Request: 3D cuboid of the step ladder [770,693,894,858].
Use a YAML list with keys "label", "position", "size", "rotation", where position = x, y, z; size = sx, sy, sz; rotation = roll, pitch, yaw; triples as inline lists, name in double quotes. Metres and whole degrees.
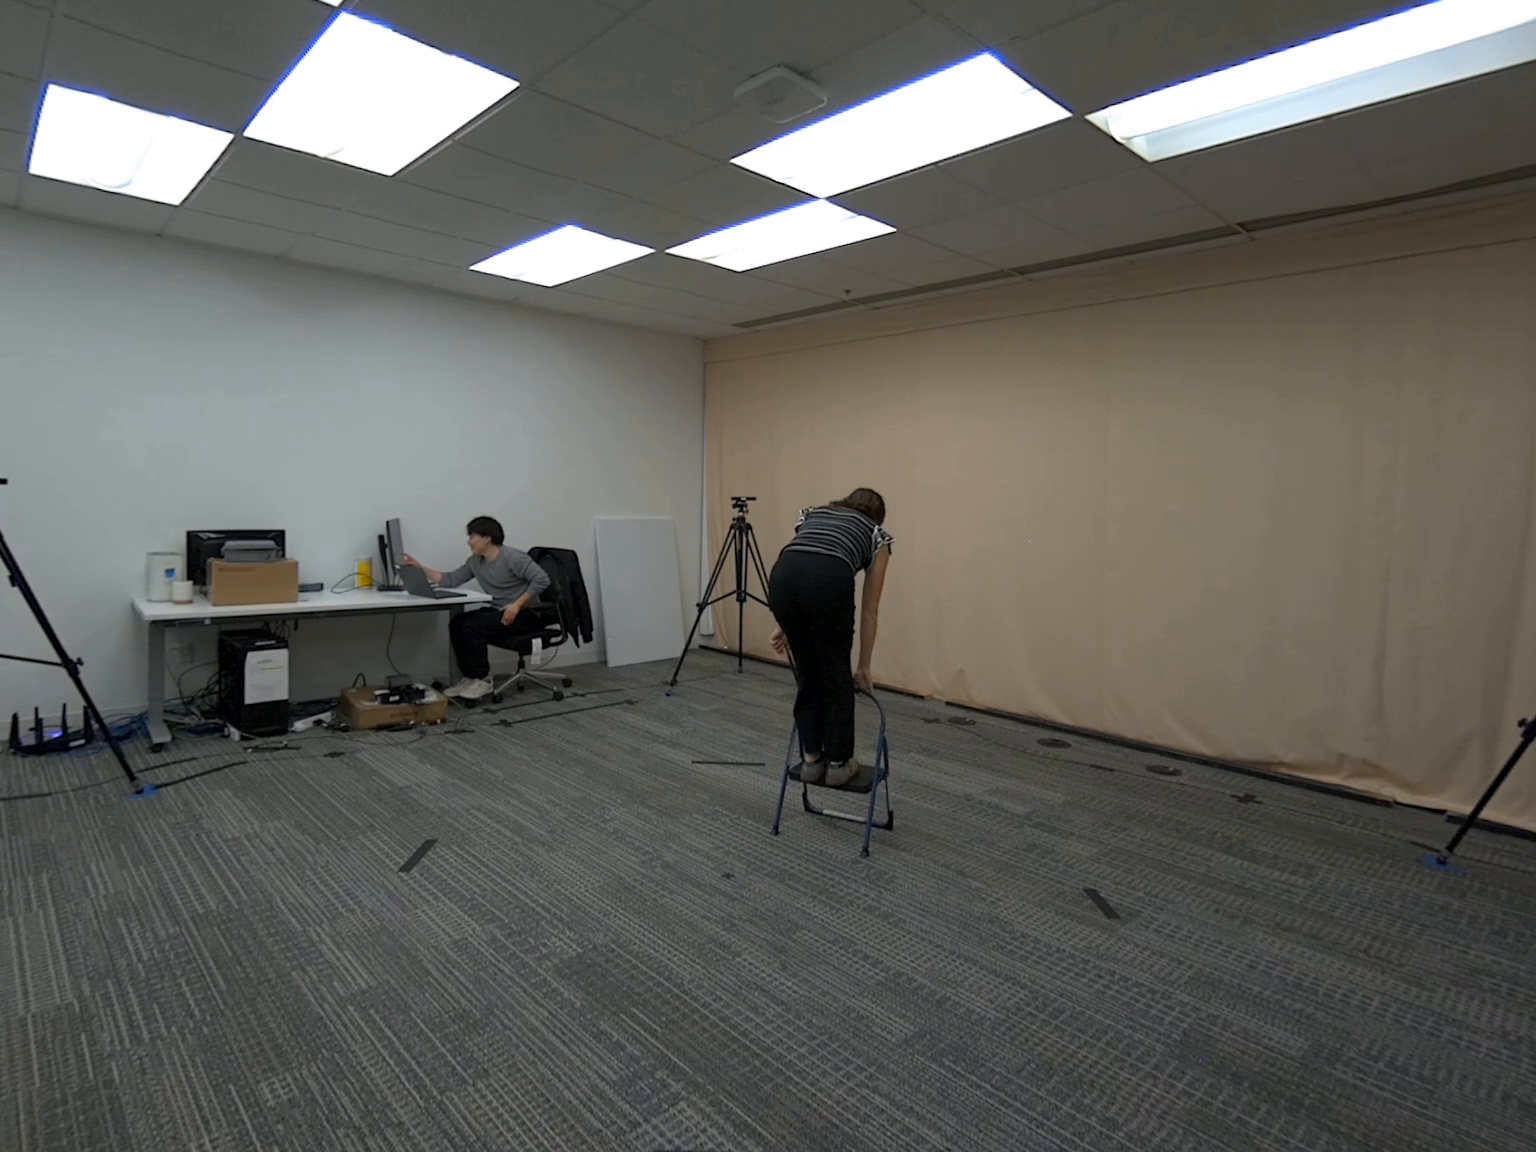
- label: "step ladder"
  position: [0.281, 0.780, 3.538]
  size: [0.440, 0.605, 0.343]
  rotation: [4, 4, 28]
